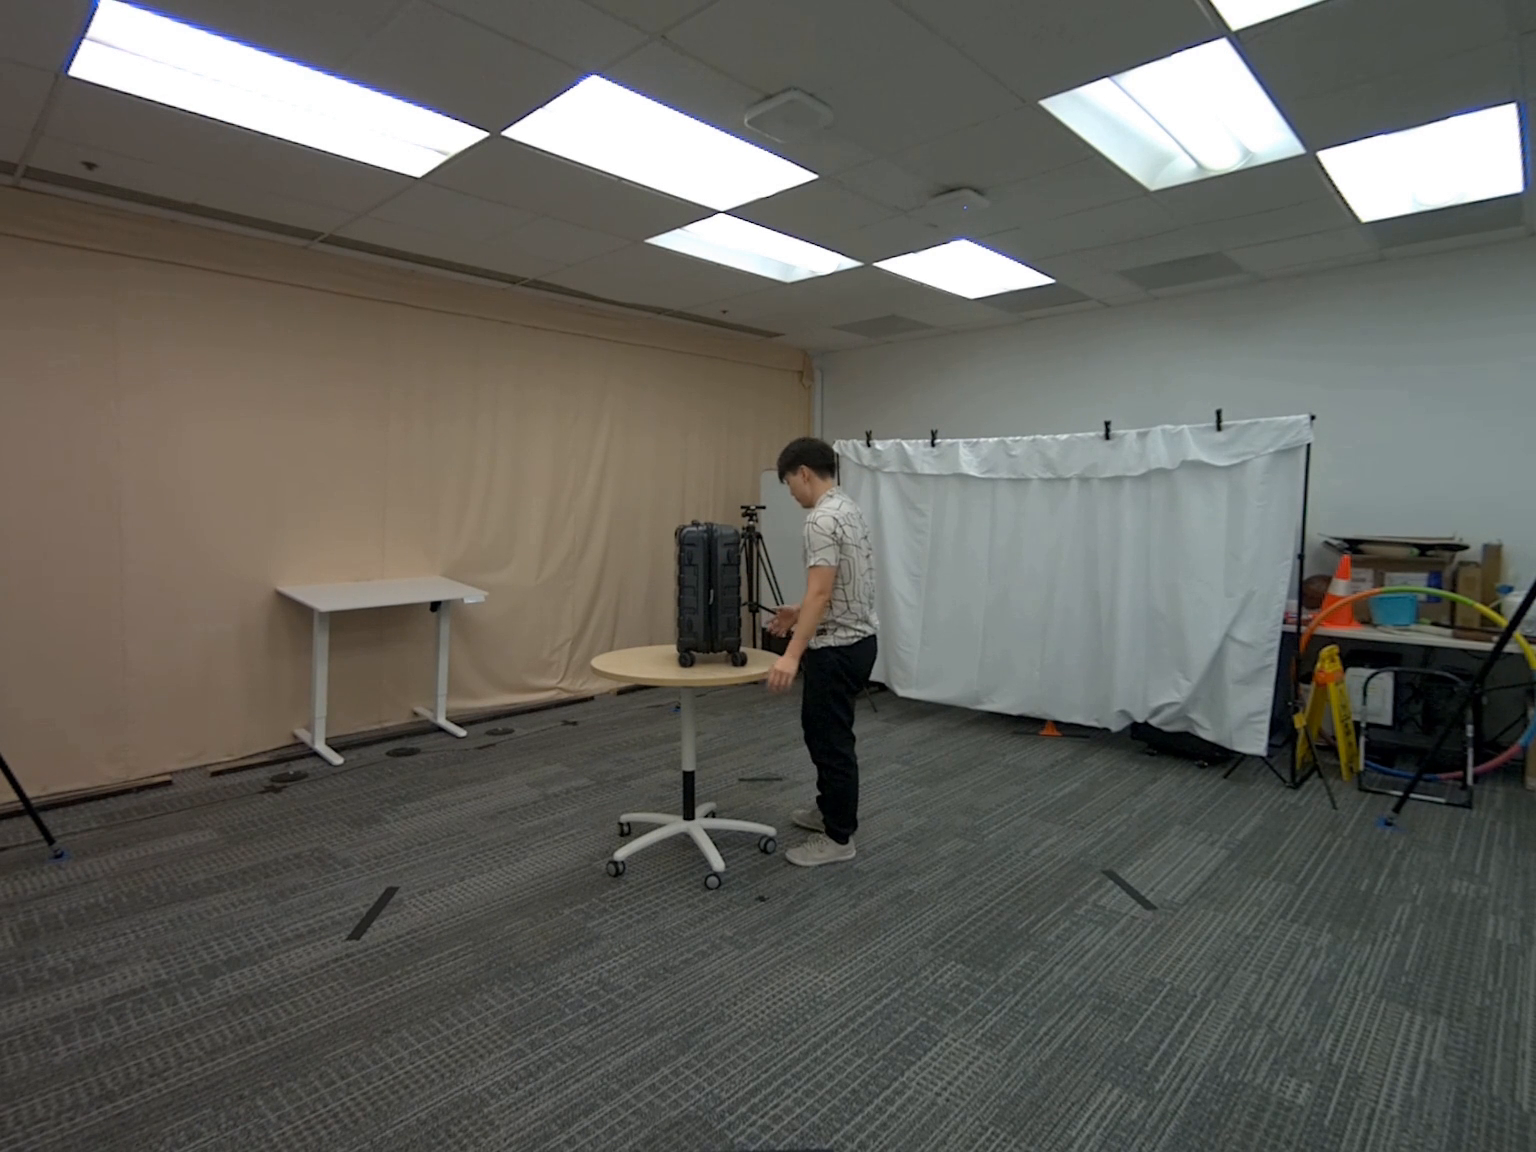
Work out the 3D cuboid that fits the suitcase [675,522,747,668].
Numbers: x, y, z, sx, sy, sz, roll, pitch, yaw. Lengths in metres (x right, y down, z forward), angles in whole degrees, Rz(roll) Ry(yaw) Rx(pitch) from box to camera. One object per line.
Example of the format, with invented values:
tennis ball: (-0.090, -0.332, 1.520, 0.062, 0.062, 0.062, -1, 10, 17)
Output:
suitcase: (-0.230, 0.055, 3.358, 0.247, 0.549, 0.377, -1, 2, -5)
